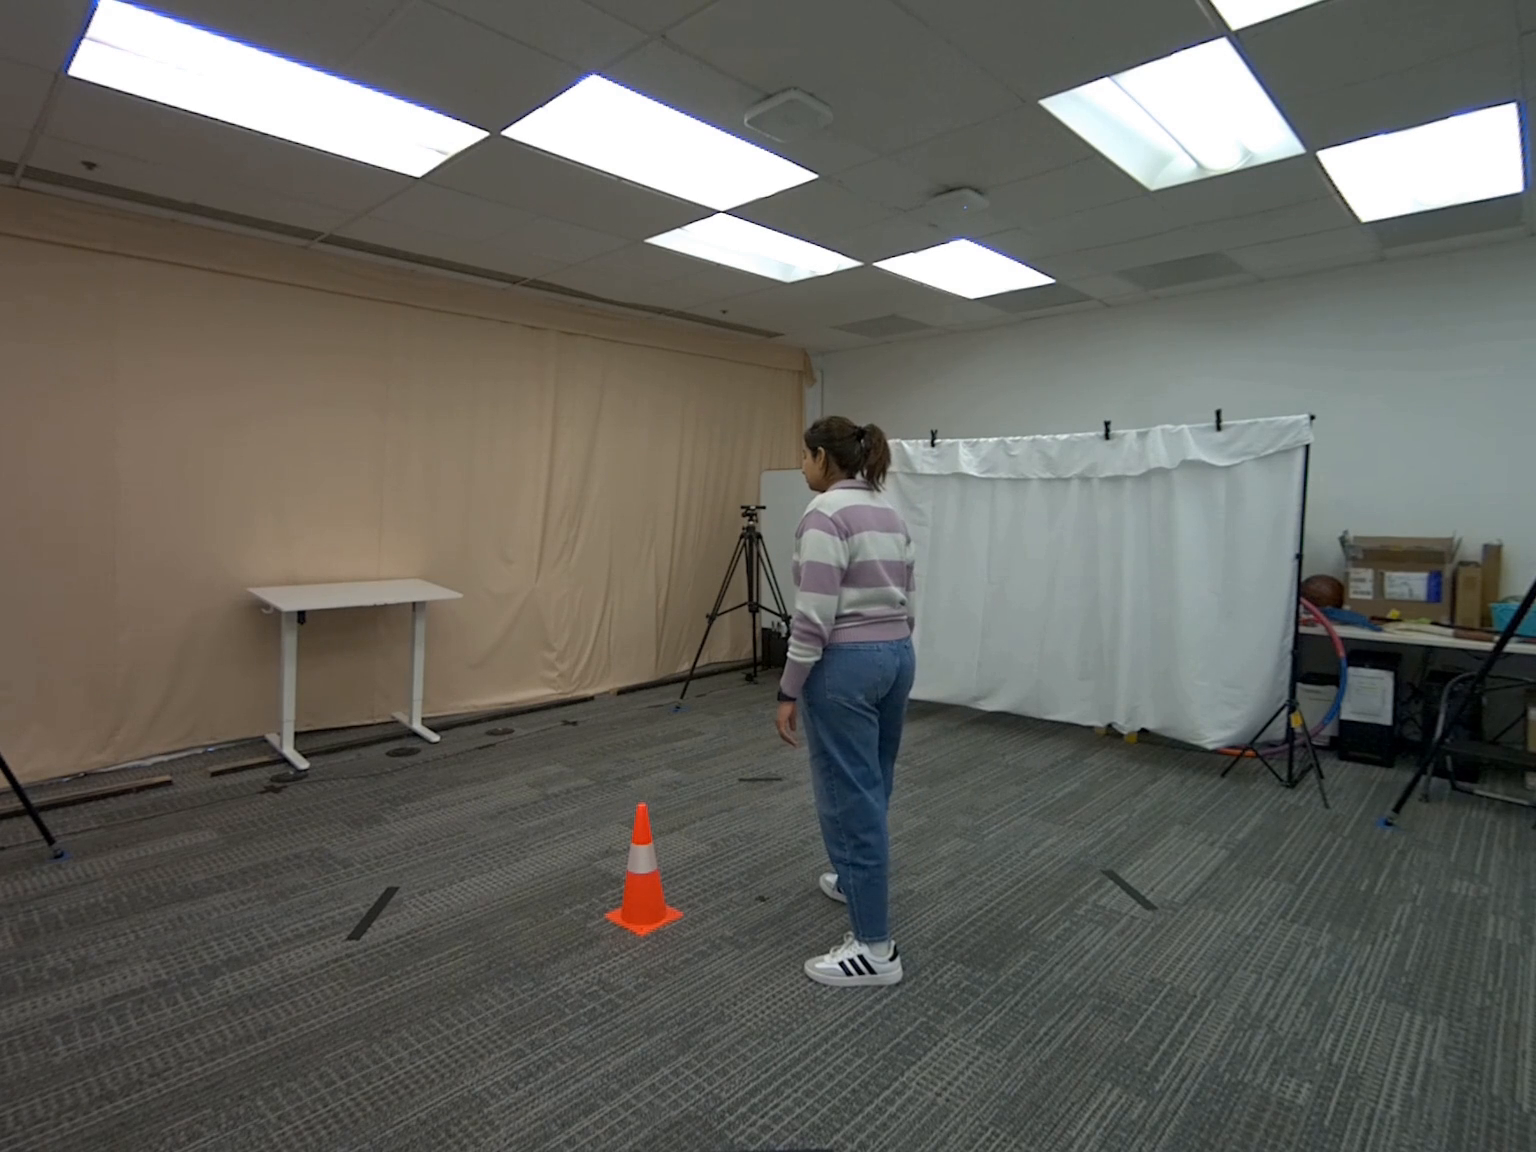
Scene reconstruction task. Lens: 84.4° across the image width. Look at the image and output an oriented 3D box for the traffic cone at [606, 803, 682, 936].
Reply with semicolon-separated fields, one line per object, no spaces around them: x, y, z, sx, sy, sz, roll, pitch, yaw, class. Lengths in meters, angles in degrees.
-0.420;0.973;2.857;0.198;0.383;0.210;-1;4;-45;traffic cone
